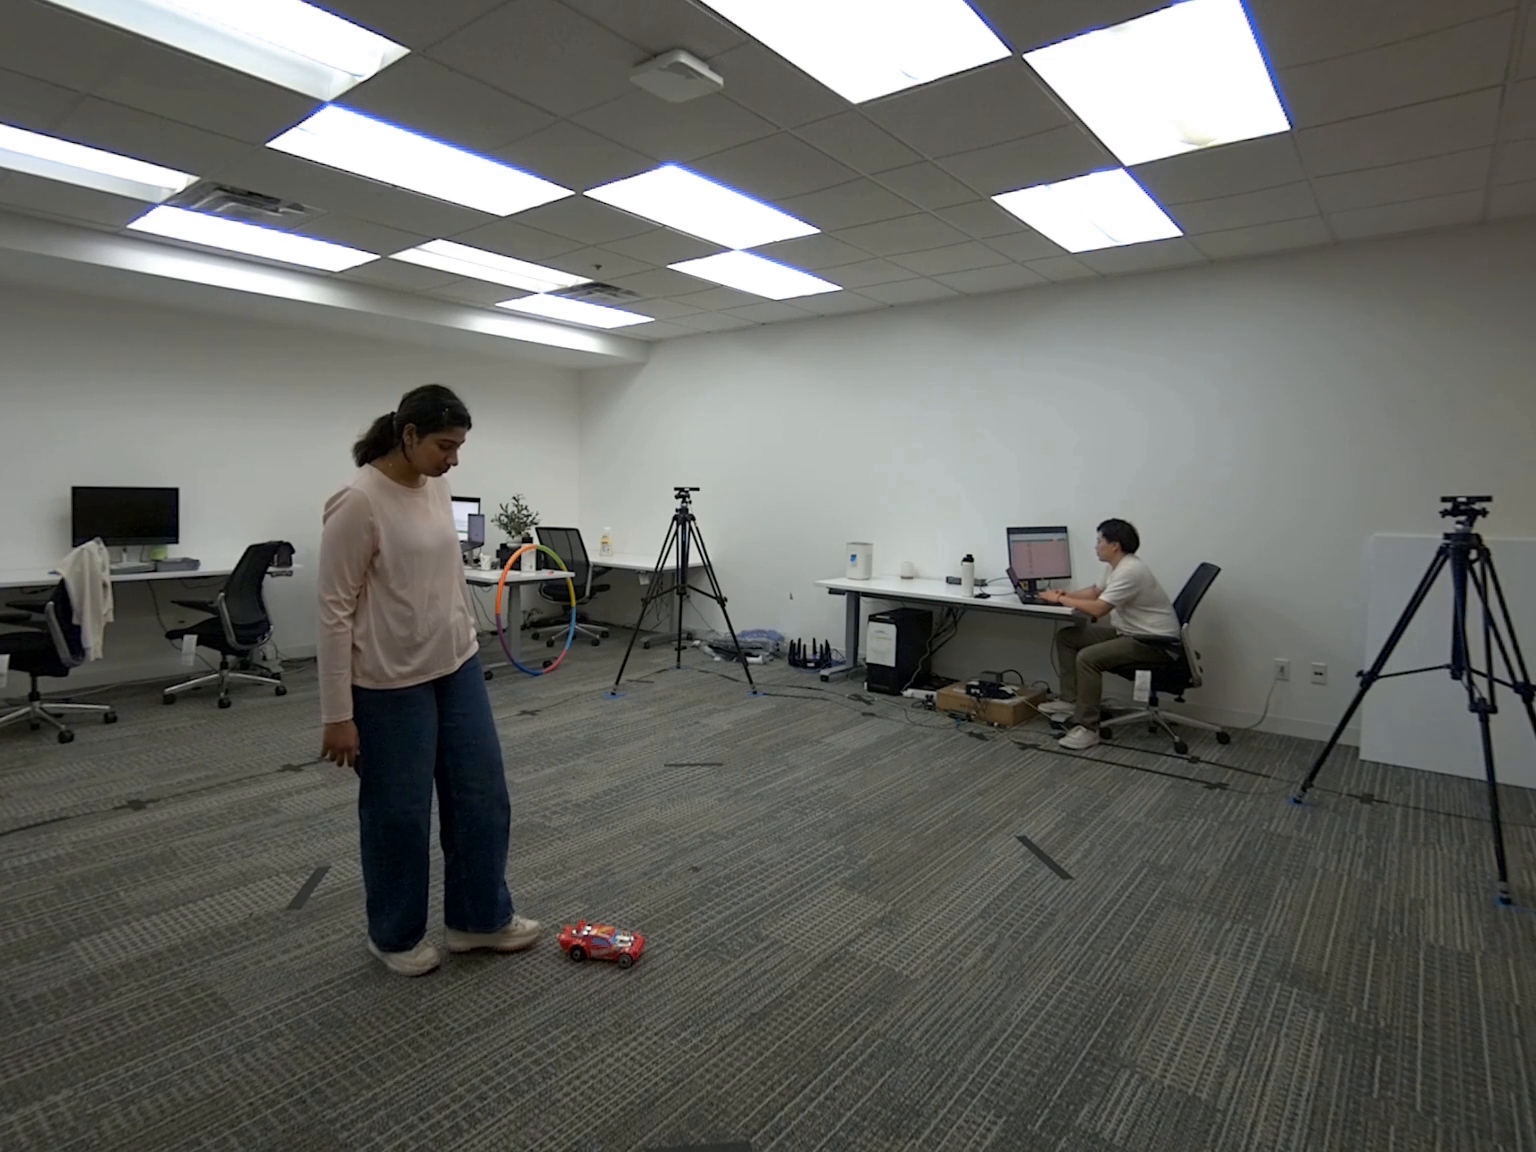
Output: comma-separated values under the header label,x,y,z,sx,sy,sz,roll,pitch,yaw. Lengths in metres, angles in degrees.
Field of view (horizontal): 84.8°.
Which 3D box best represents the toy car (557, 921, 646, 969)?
label,x,y,z,sx,sy,sz,roll,pitch,yaw
toy car,-0.509,1.096,2.516,0.257,0.083,0.129,13,6,9
